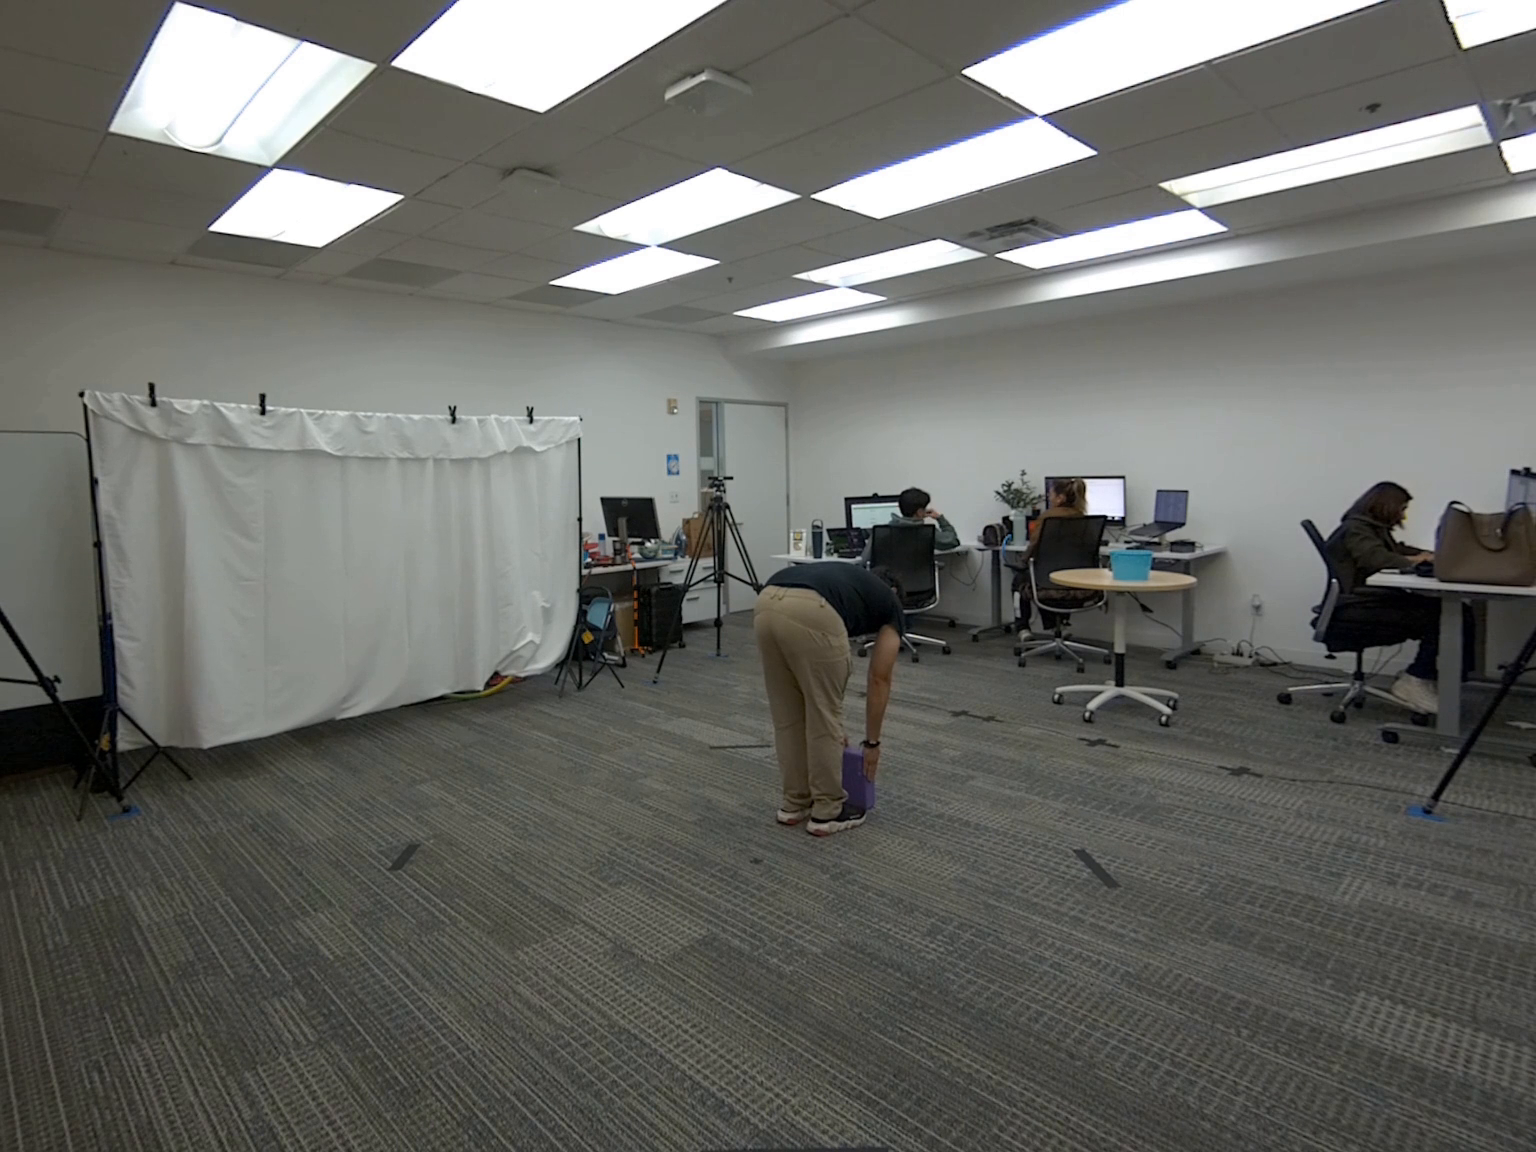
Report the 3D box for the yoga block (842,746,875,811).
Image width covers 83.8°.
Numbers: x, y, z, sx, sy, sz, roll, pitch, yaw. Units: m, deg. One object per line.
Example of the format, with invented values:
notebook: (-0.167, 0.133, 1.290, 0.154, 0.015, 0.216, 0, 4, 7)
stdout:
yoga block: (0.371, 0.855, 3.617, 0.074, 0.229, 0.153, -3, 4, -42)
